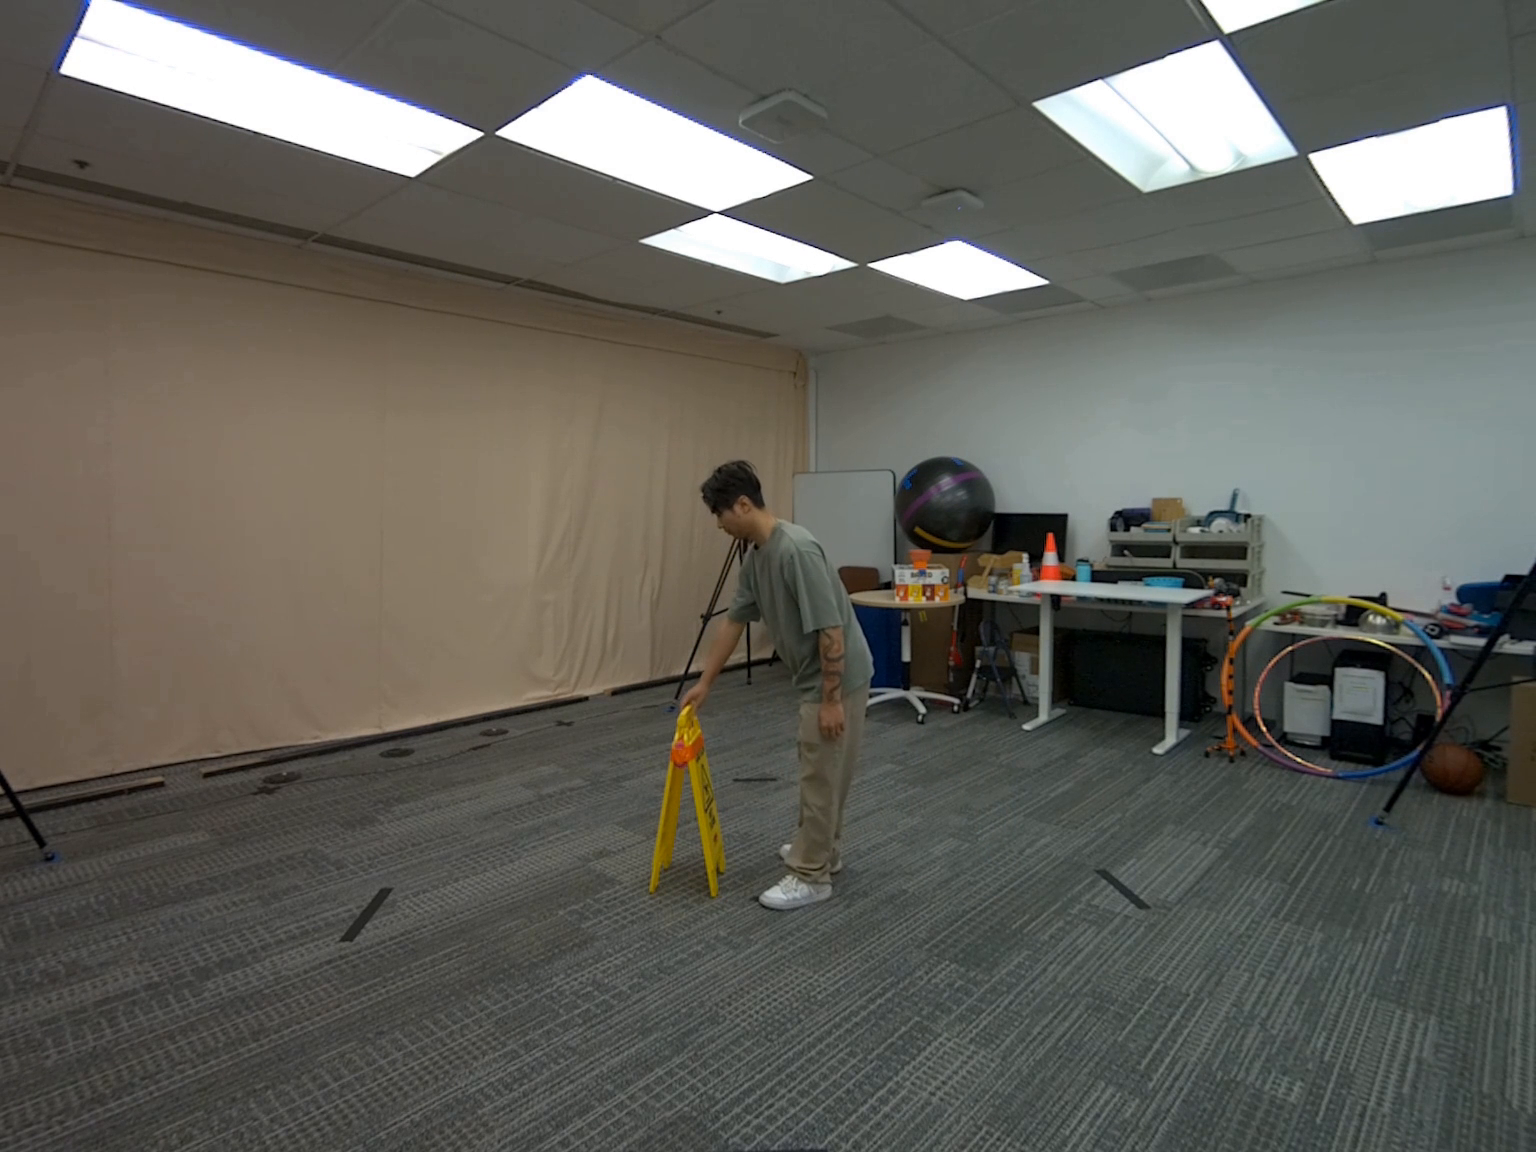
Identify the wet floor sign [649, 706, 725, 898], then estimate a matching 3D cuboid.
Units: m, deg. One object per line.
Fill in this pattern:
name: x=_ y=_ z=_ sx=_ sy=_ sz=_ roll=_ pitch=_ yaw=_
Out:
wet floor sign: x=-0.298 y=0.821 z=3.121 sx=0.293 sy=0.645 sz=0.280 roll=-1 pitch=2 yaw=9
